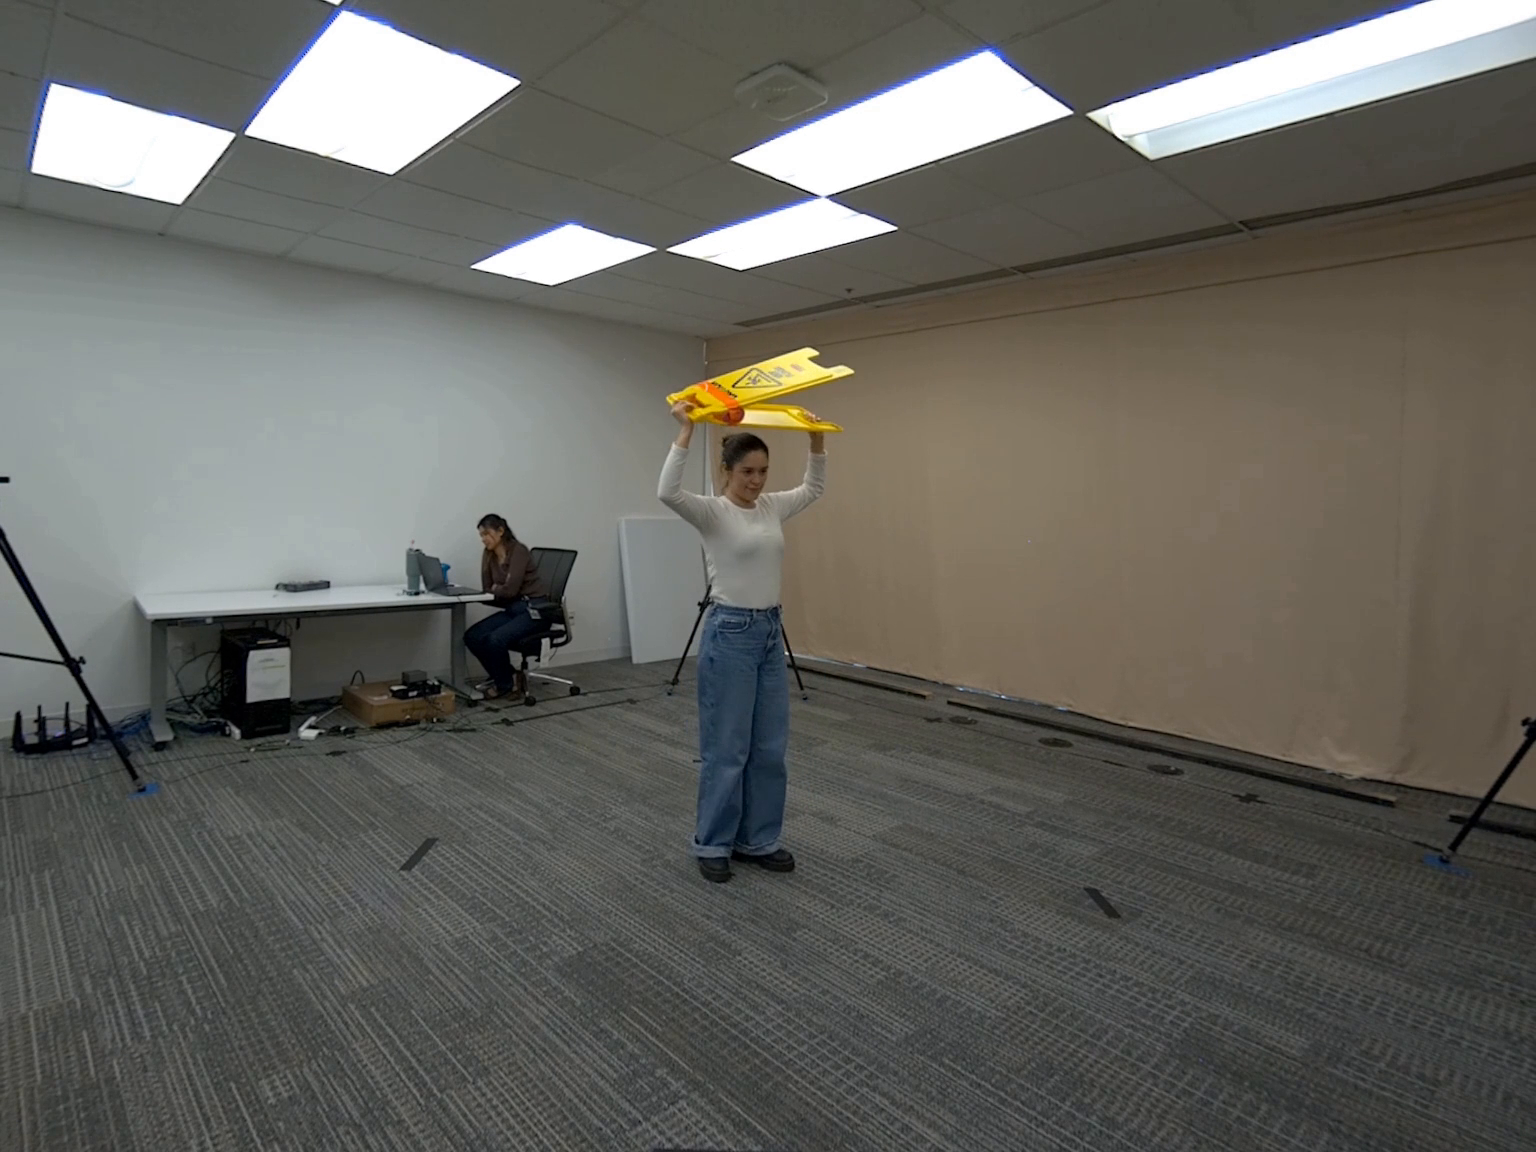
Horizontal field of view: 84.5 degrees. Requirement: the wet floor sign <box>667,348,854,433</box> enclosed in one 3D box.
[{"bbox_3d":[-0.056,-0.636,3.014,0.635,0.285,0.291,-15,38,-35],"label":"wet floor sign"}]
